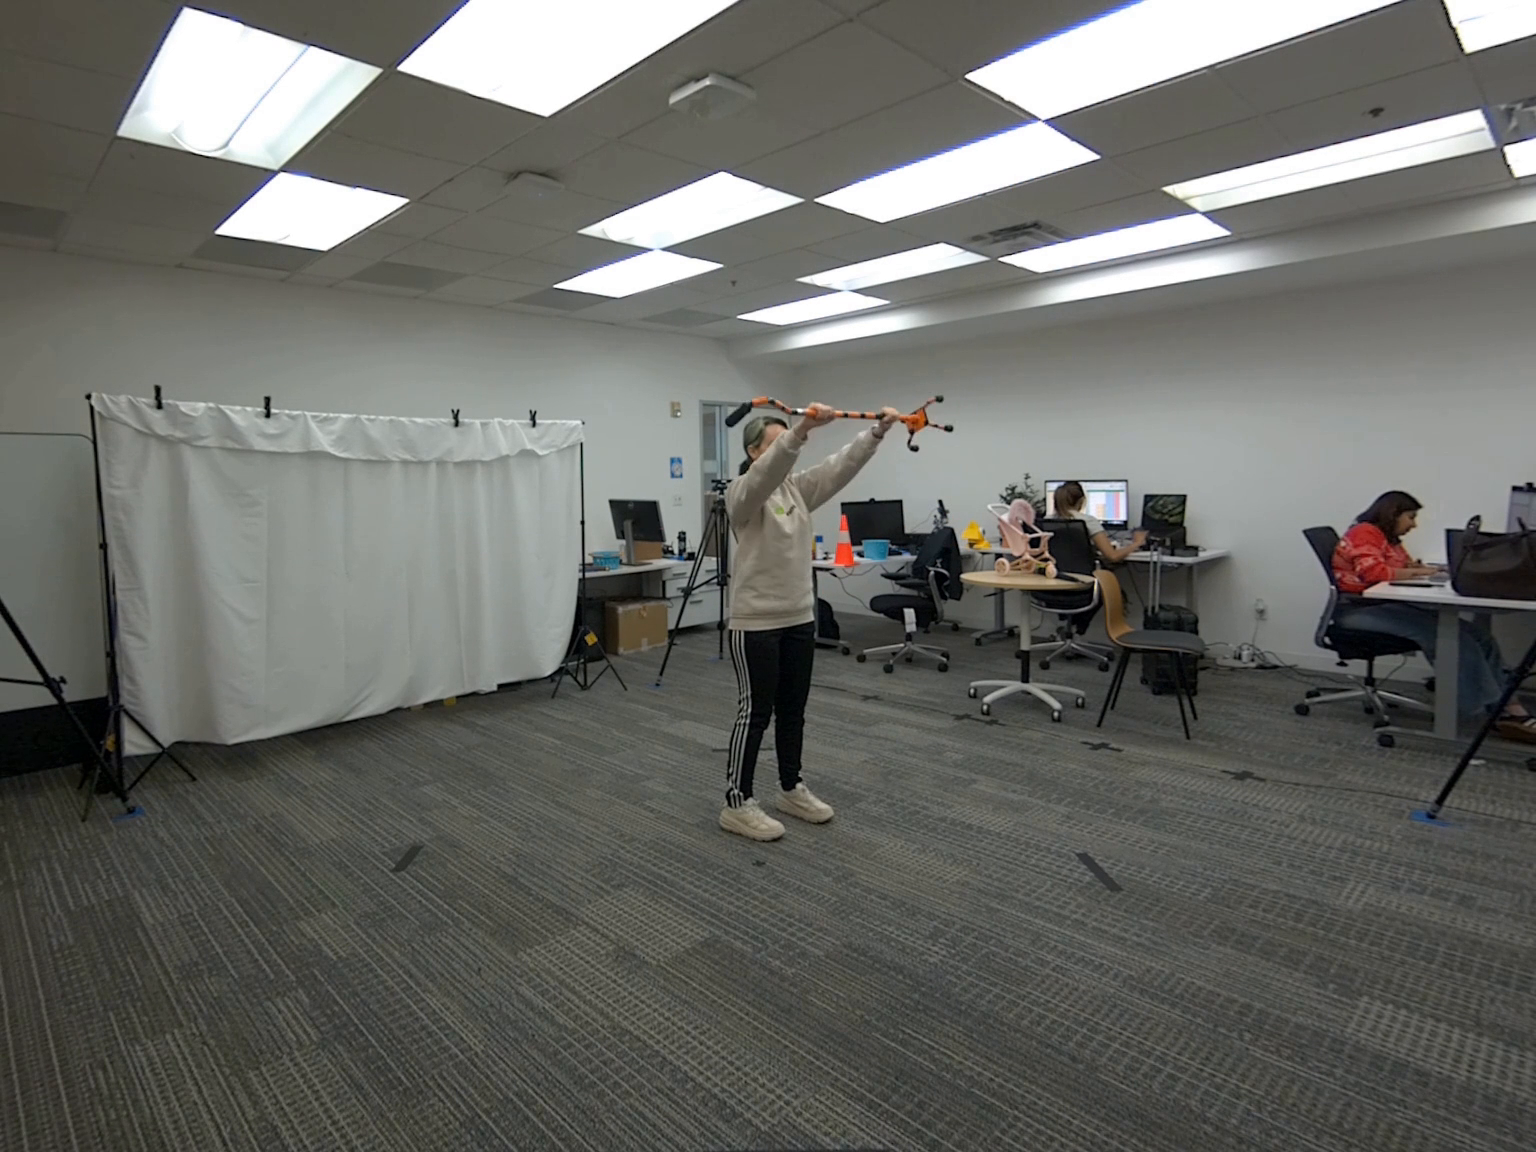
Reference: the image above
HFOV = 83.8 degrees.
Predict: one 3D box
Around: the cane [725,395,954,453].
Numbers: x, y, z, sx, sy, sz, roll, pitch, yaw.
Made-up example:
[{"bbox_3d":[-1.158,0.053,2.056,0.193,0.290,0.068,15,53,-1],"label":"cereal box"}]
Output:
[{"bbox_3d":[0.261,-0.546,2.995,0.884,0.154,0.208,-5,-16,-37],"label":"cane"}]
